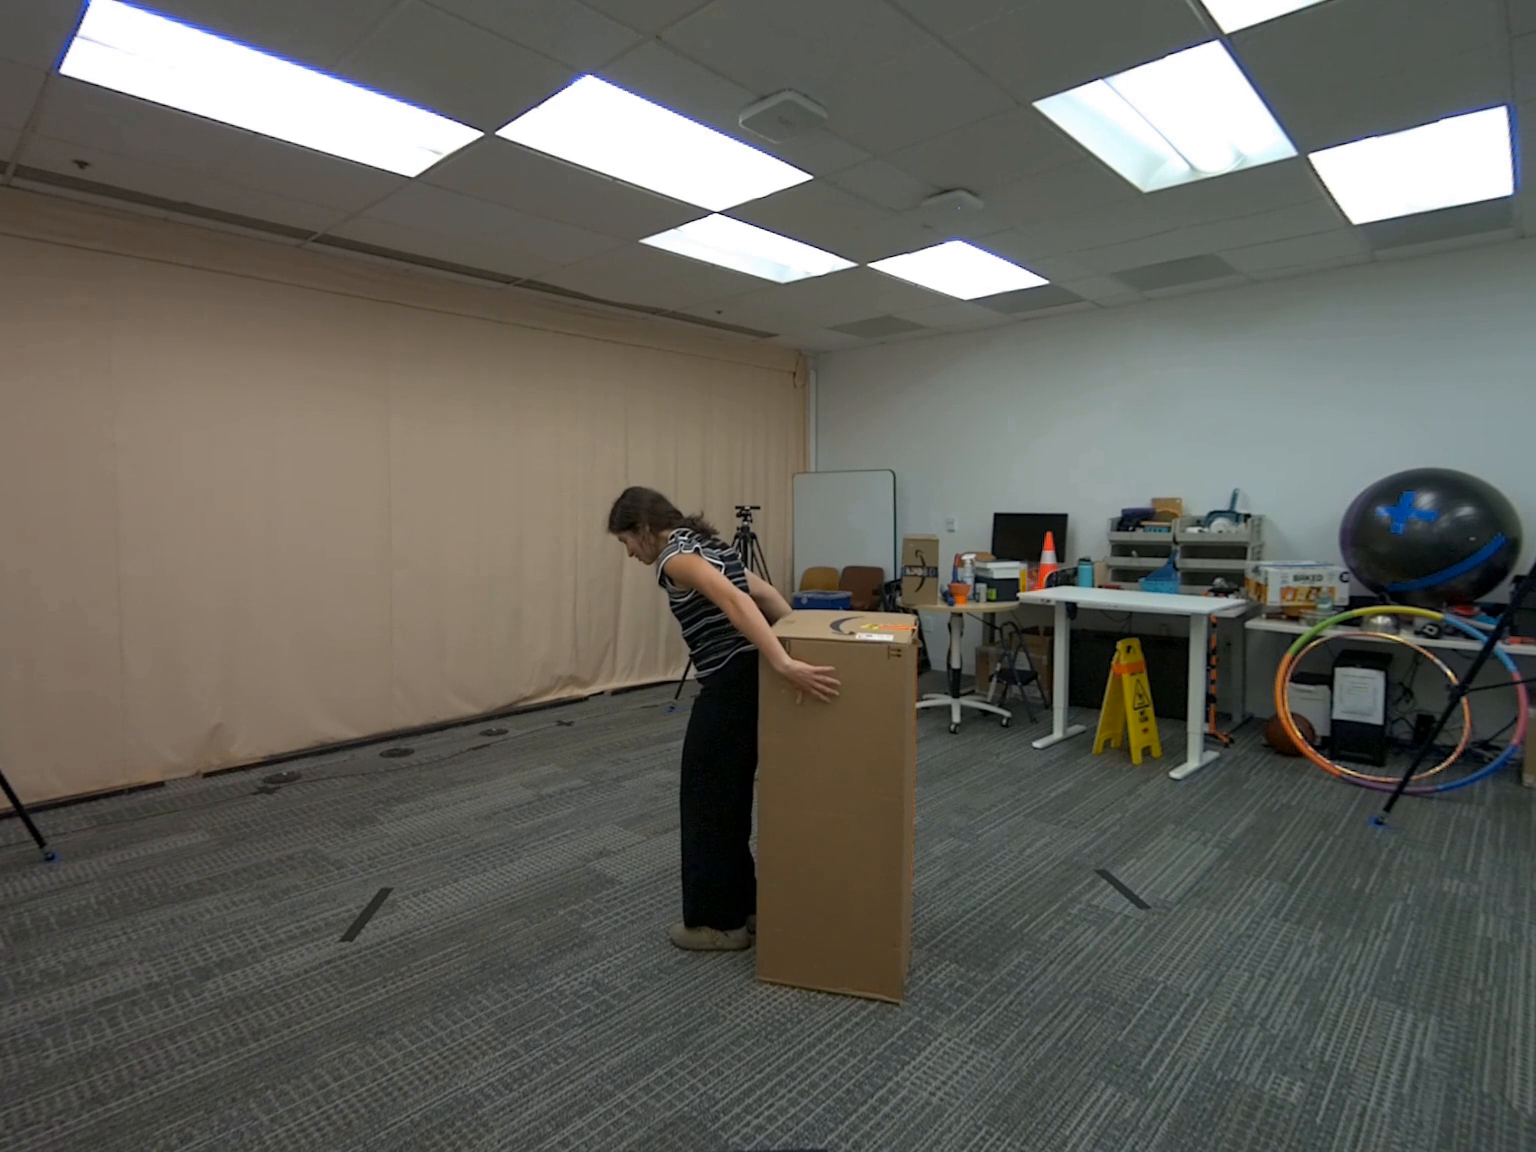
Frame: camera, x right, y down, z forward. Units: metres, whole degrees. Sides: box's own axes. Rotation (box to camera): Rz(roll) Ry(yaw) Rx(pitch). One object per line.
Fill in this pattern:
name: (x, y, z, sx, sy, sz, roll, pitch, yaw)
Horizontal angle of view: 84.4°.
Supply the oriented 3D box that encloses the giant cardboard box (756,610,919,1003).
giant cardboard box: (0.238, 0.660, 2.654, 0.433, 1.024, 0.570, 1, 3, 13)
